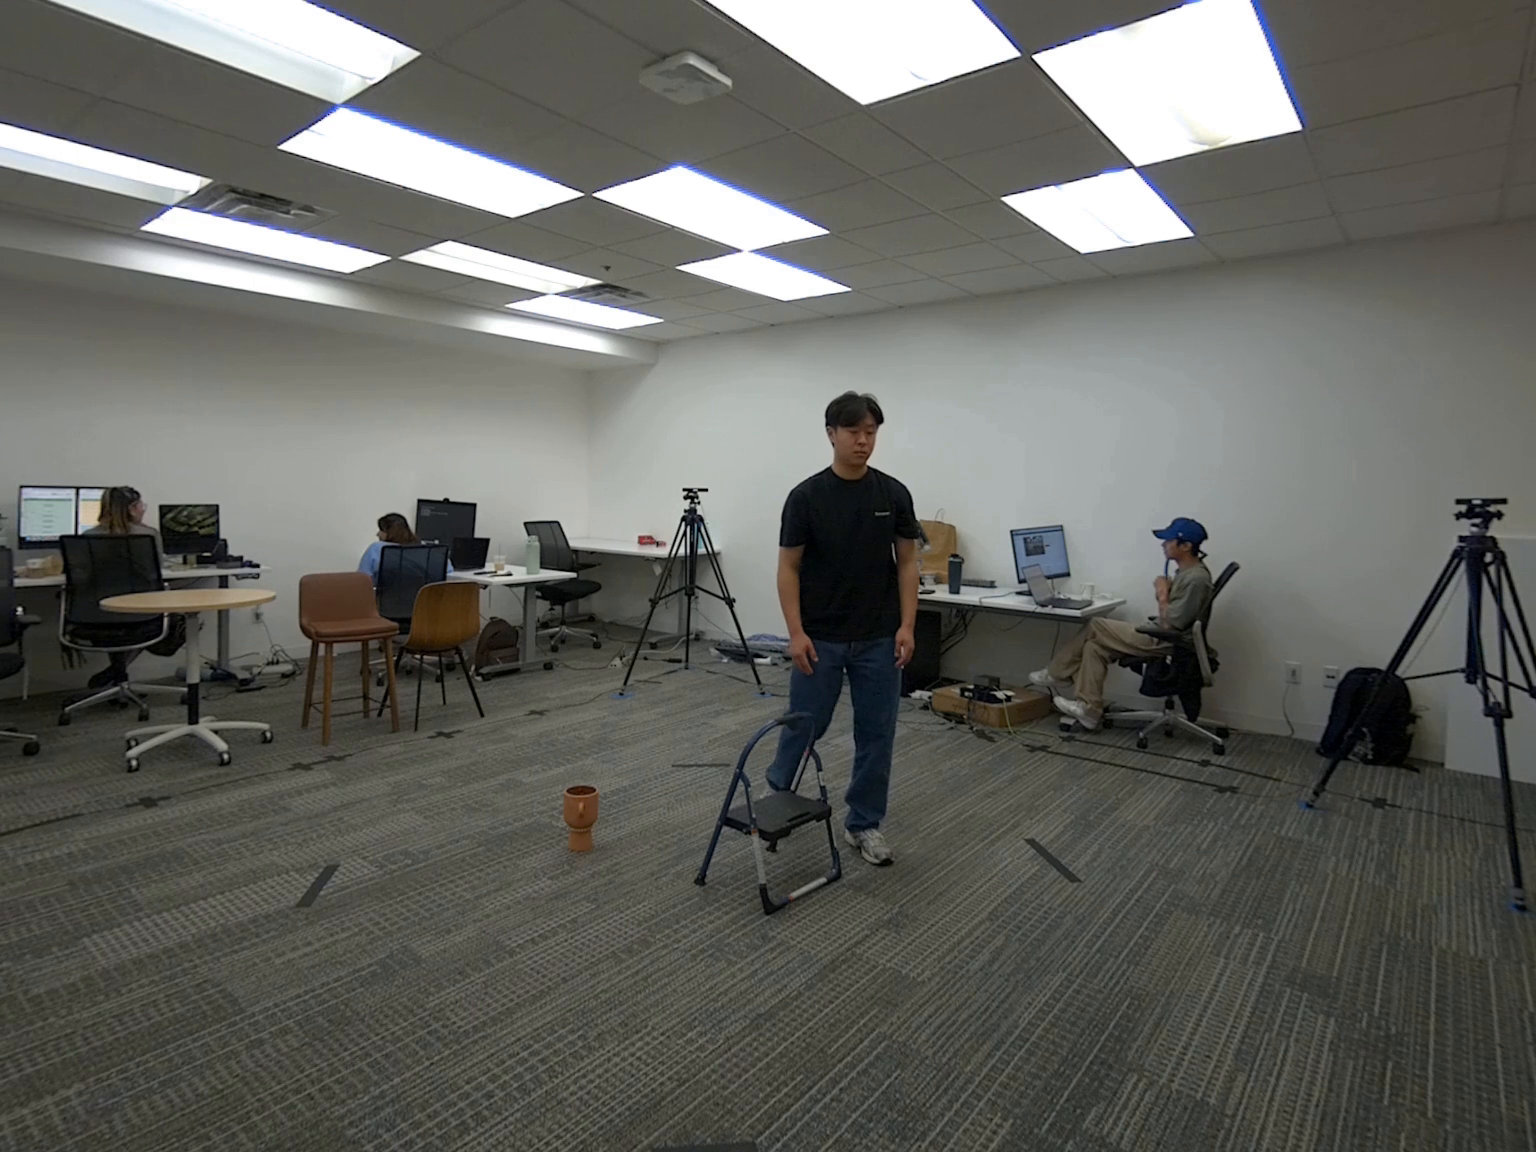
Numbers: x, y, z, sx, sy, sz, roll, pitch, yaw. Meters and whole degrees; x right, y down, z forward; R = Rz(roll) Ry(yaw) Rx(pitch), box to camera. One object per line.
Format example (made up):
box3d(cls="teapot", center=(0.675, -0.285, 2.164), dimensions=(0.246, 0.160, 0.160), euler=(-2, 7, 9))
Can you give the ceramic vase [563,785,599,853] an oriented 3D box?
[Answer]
box3d(cls="ceramic vase", center=(-0.734, 0.931, 3.289), dimensions=(0.138, 0.219, 0.155), euler=(3, 3, 29))
